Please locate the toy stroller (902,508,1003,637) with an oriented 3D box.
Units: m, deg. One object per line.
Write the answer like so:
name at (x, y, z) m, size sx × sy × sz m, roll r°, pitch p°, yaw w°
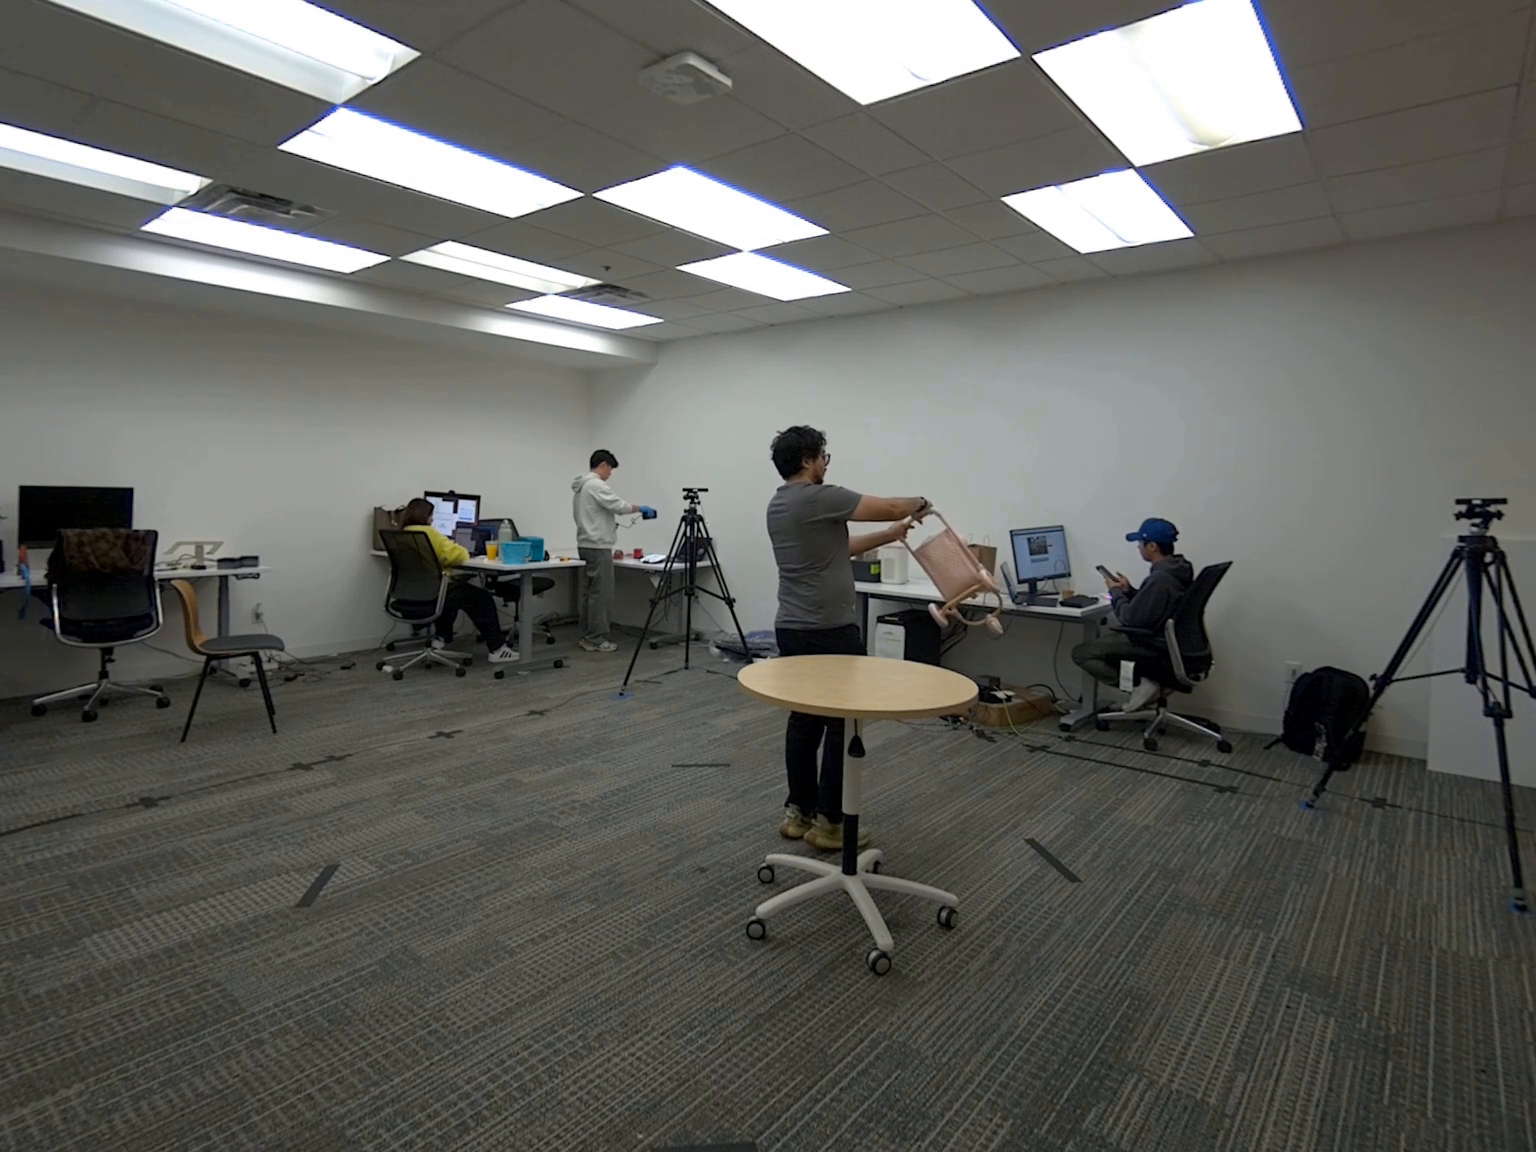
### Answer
toy stroller at (0.793, -0.001, 3.587) m, size 0.282 × 0.555 × 0.328 m, roll -41°, pitch -37°, yaw 24°
